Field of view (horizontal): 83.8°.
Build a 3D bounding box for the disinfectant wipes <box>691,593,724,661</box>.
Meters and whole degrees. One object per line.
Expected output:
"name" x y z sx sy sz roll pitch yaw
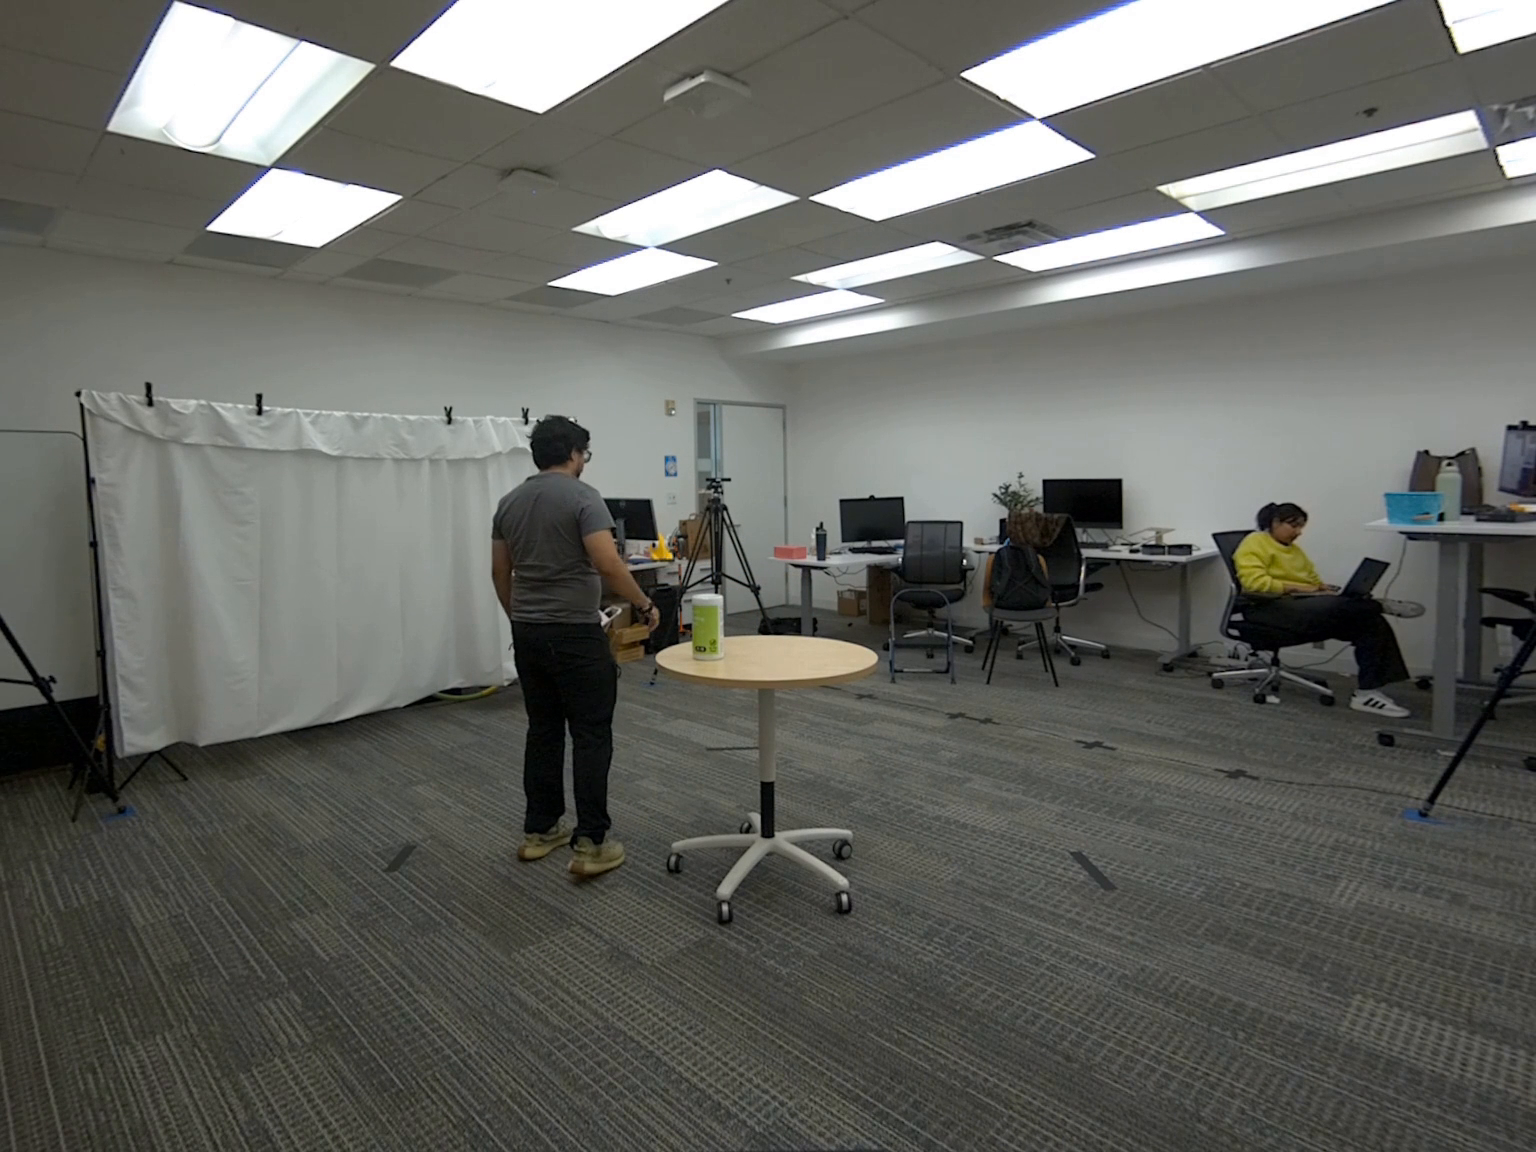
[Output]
"disinfectant wipes" -0.202 0.176 2.925 0.118 0.217 0.118 -2 4 -1
